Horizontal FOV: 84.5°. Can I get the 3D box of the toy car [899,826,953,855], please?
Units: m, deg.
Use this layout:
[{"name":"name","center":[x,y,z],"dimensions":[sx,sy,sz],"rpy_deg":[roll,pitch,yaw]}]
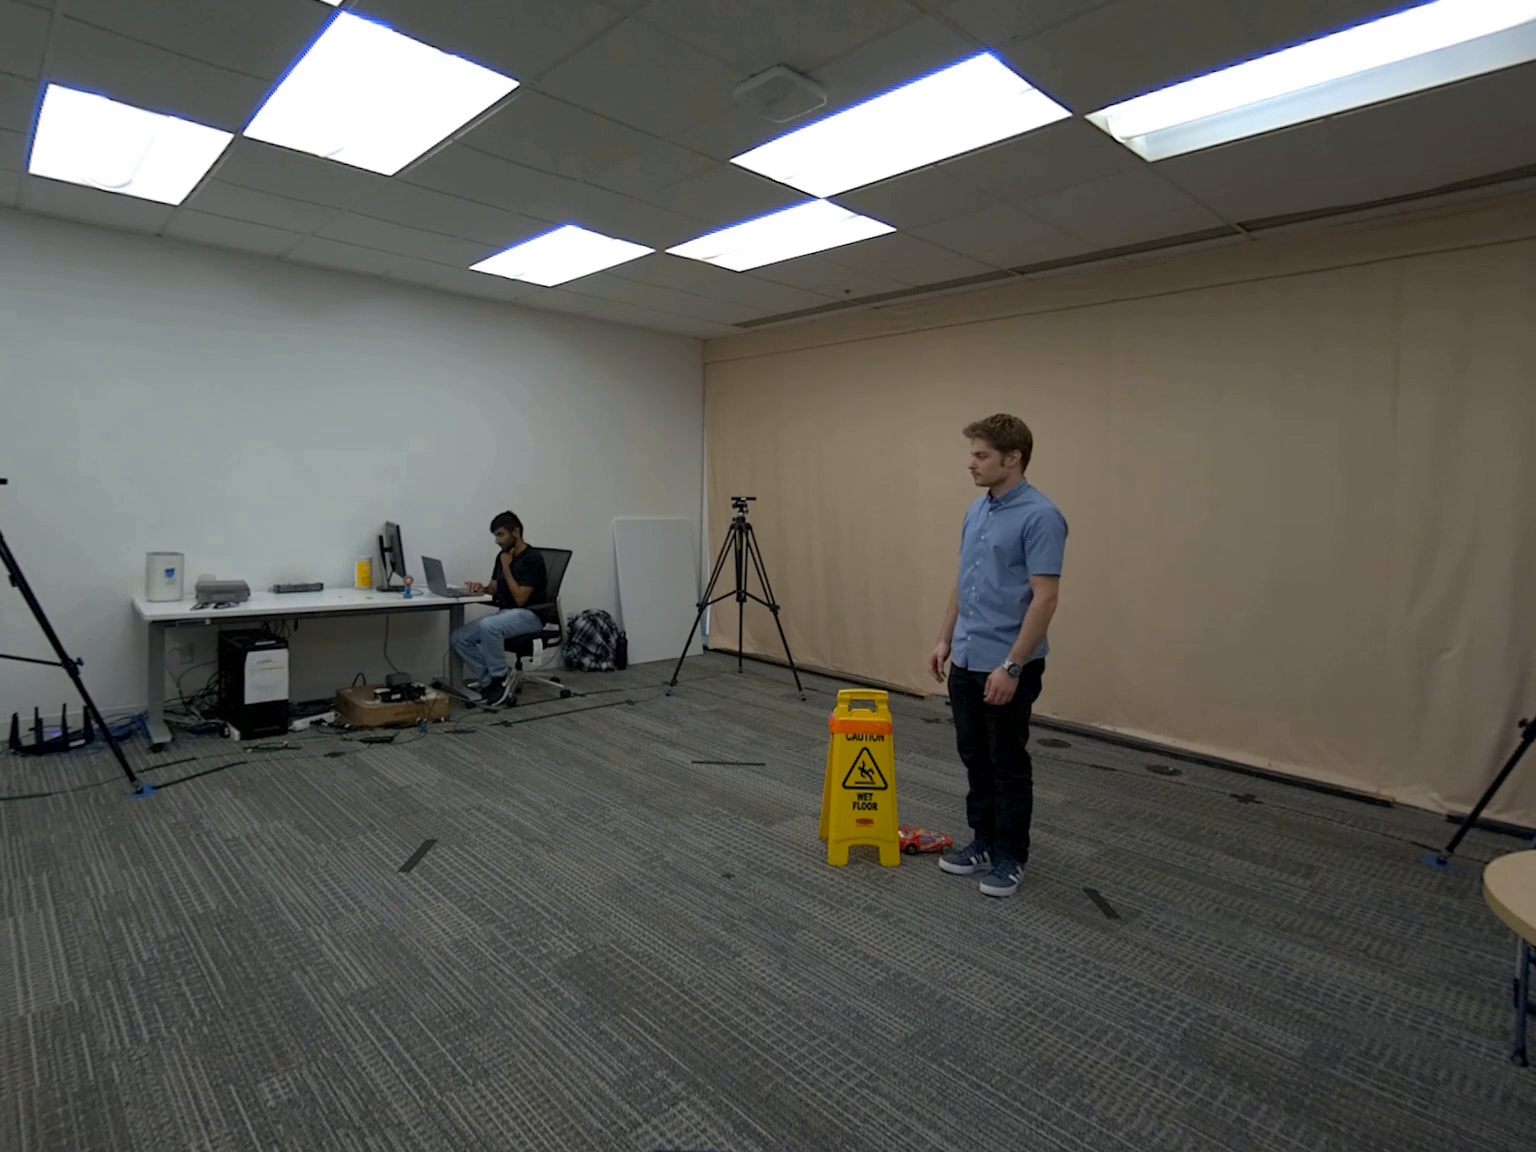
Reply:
[{"name":"toy car","center":[0.600,1.070,3.386],"dimensions":[0.253,0.083,0.131],"rpy_deg":[12,4,-6]}]
